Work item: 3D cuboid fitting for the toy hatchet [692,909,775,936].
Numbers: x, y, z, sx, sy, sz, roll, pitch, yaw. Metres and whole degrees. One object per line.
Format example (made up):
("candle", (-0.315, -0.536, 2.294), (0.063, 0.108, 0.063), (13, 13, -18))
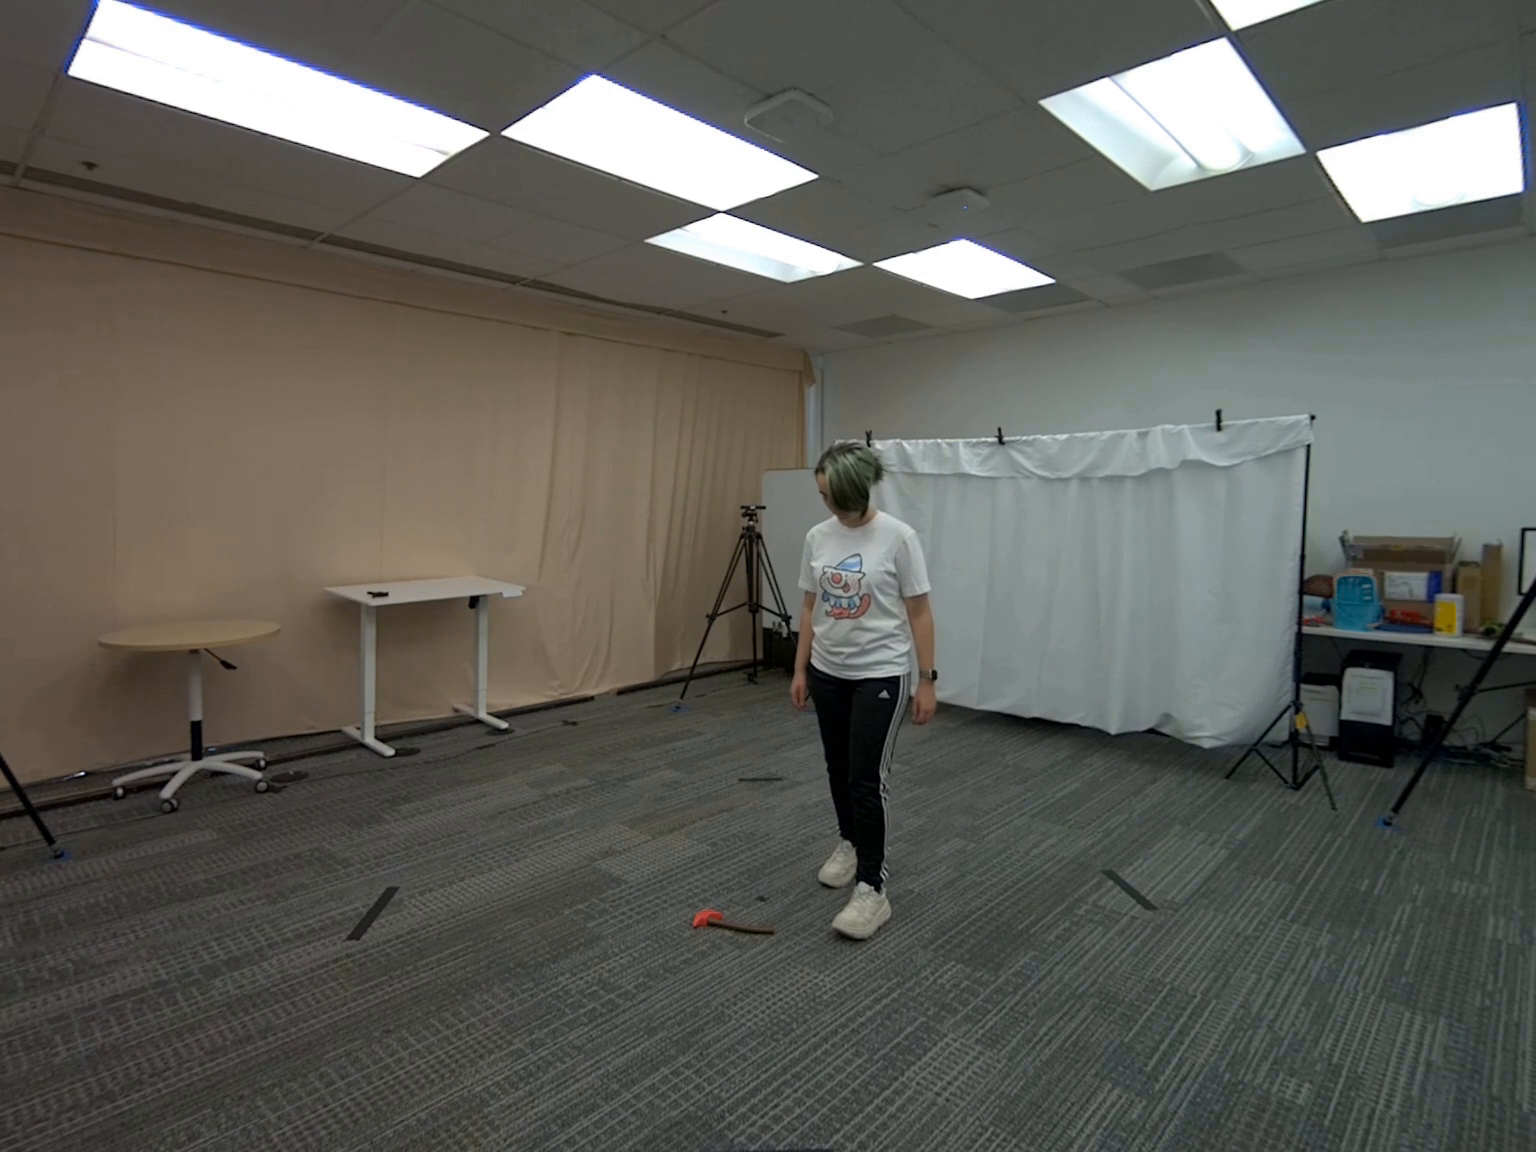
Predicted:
("toy hatchet", (-0.110, 1.155, 2.806), (0.272, 0.029, 0.130), (3, 1, 5))
